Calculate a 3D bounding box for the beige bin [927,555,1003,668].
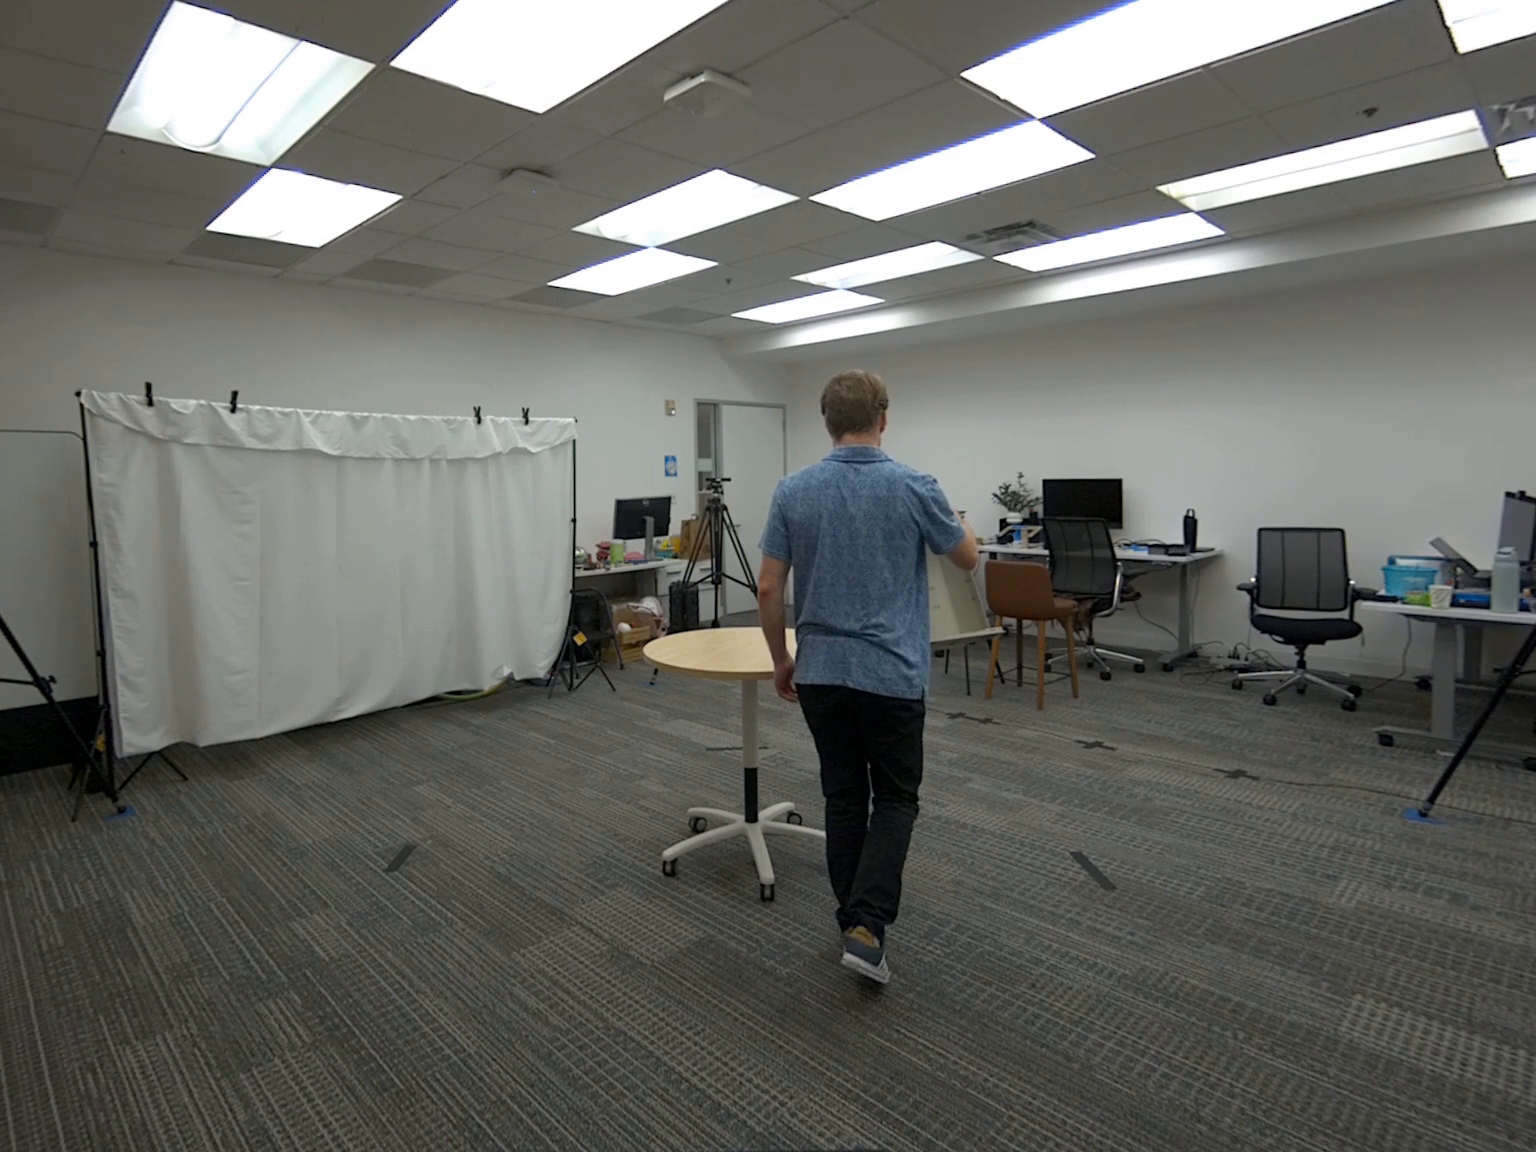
[{"bbox_3d":[0.543,0.020,2.774,0.369,0.430,0.190,-4,-19,-28],"label":"beige bin"}]
